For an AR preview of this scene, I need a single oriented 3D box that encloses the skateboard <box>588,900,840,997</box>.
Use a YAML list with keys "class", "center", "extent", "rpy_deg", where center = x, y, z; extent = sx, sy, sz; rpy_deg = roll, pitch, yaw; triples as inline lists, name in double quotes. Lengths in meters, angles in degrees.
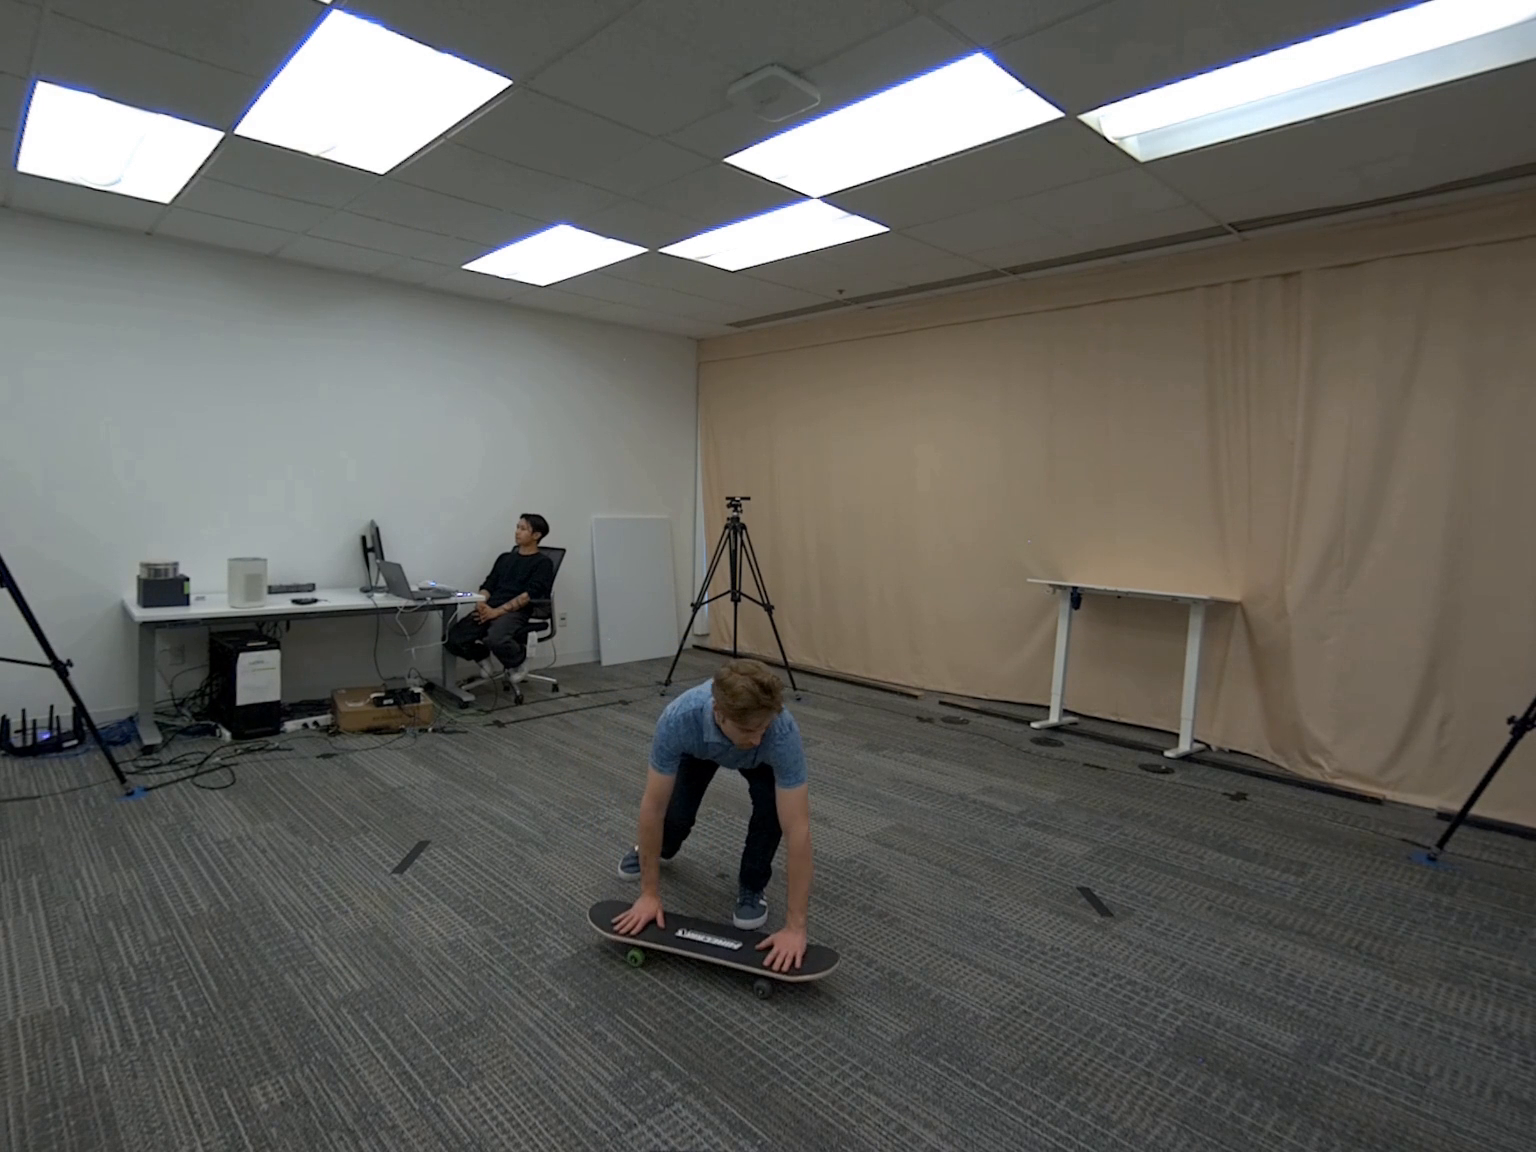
- class: "skateboard"
  center: [-0.189, 1.104, 2.494]
  extent: [0.798, 0.110, 0.191]
  rpy_deg: [3, 6, 19]
